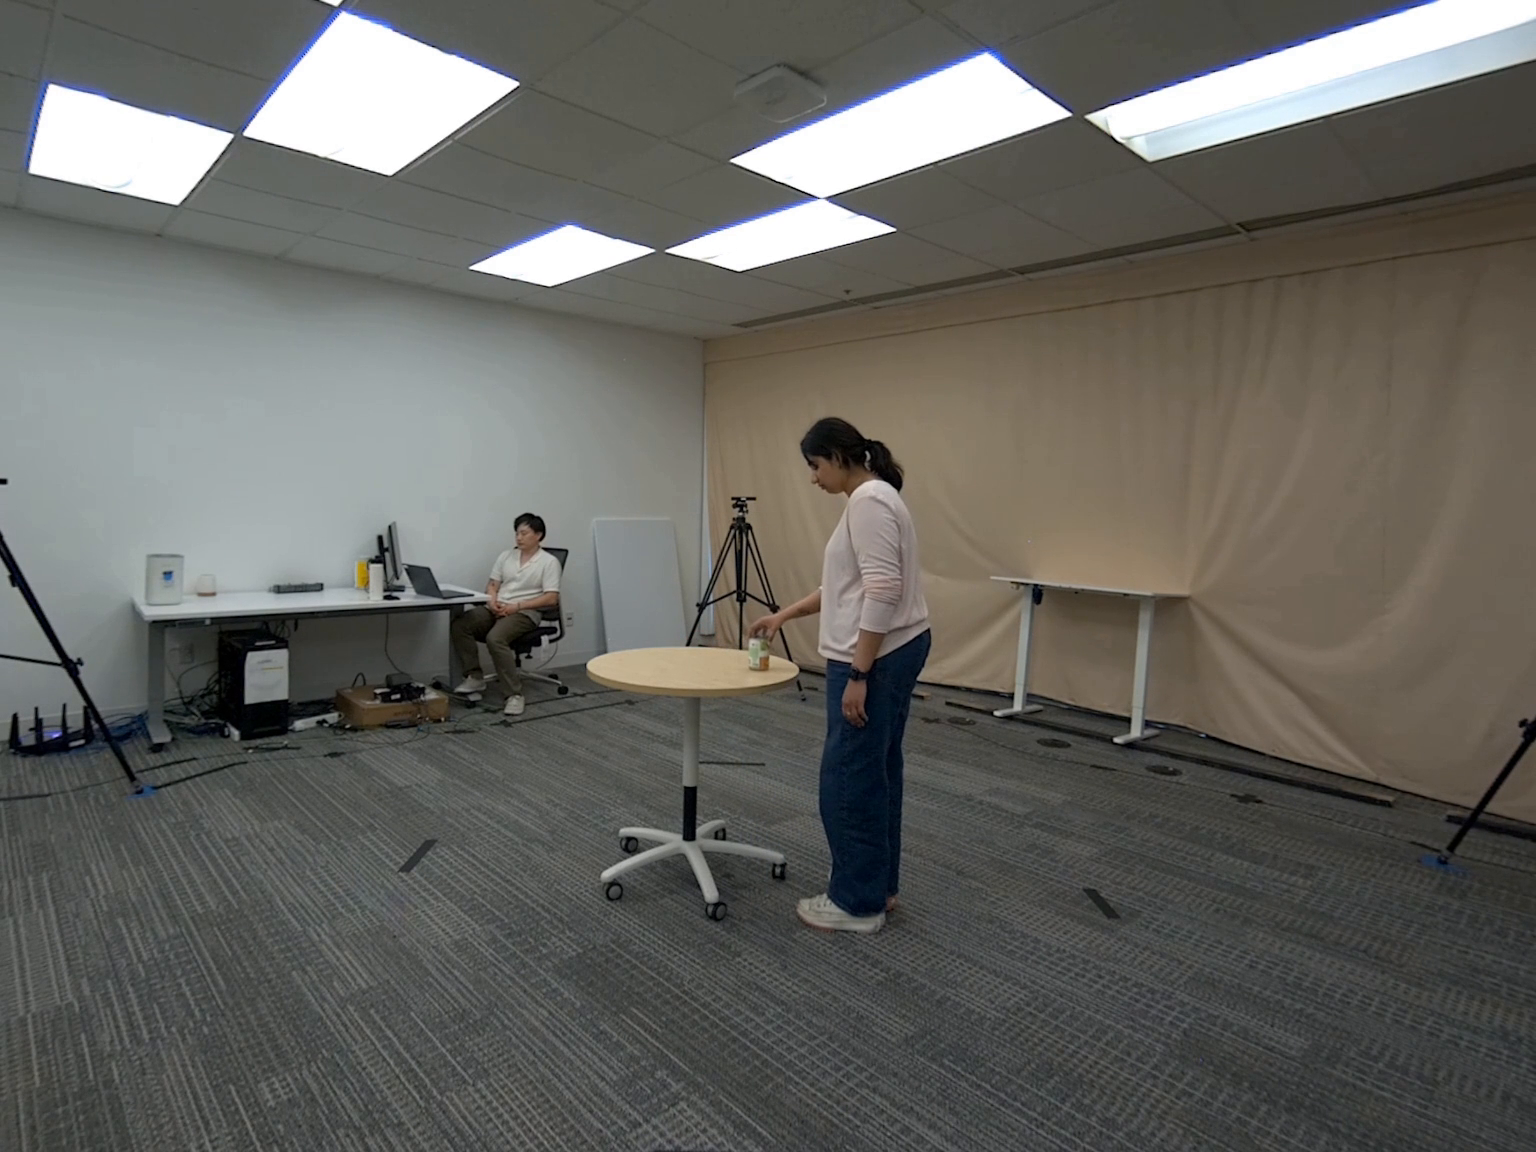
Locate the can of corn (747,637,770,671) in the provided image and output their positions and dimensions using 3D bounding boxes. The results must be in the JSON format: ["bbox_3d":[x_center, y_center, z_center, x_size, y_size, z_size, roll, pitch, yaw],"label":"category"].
[{"bbox_3d":[-0.036,0.275,3.008,0.074,0.111,0.074,5,3,-2],"label":"can of corn"}]
